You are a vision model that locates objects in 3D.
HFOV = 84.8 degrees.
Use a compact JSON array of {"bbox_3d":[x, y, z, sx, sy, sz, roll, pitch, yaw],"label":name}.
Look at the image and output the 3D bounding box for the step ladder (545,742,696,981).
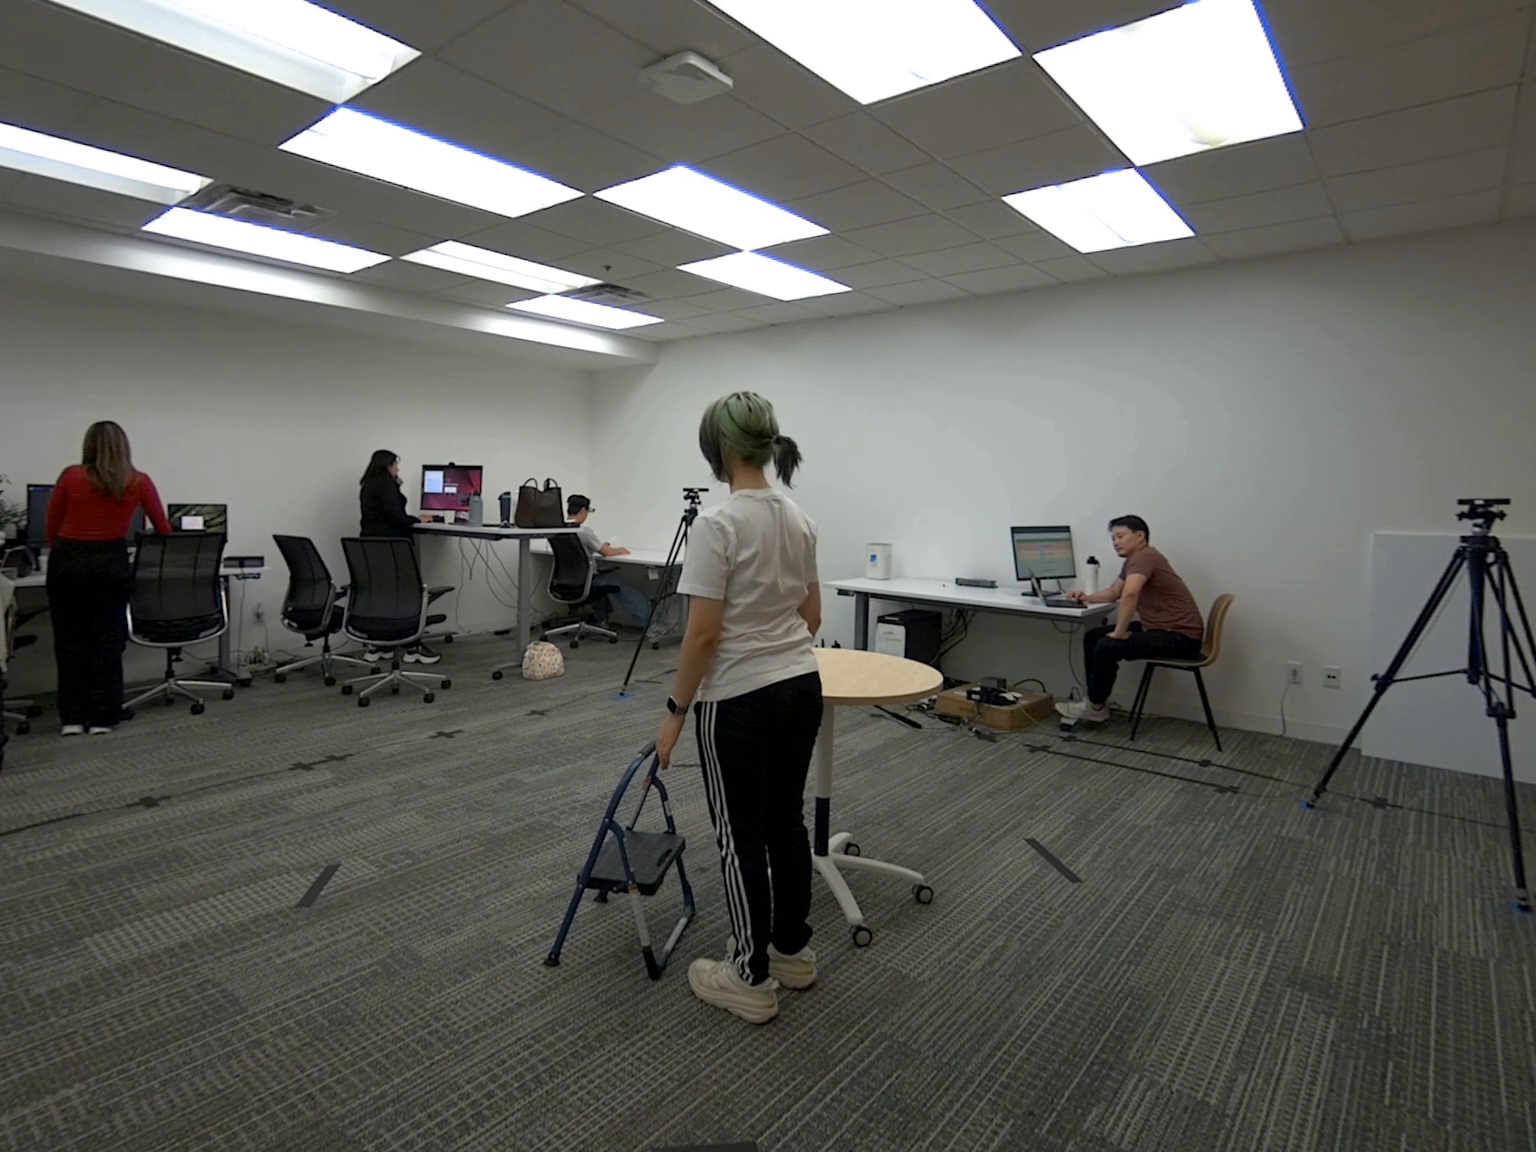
[{"bbox_3d":[-0.443,0.811,2.614,0.354,0.604,0.426,1,3,11],"label":"step ladder"}]
